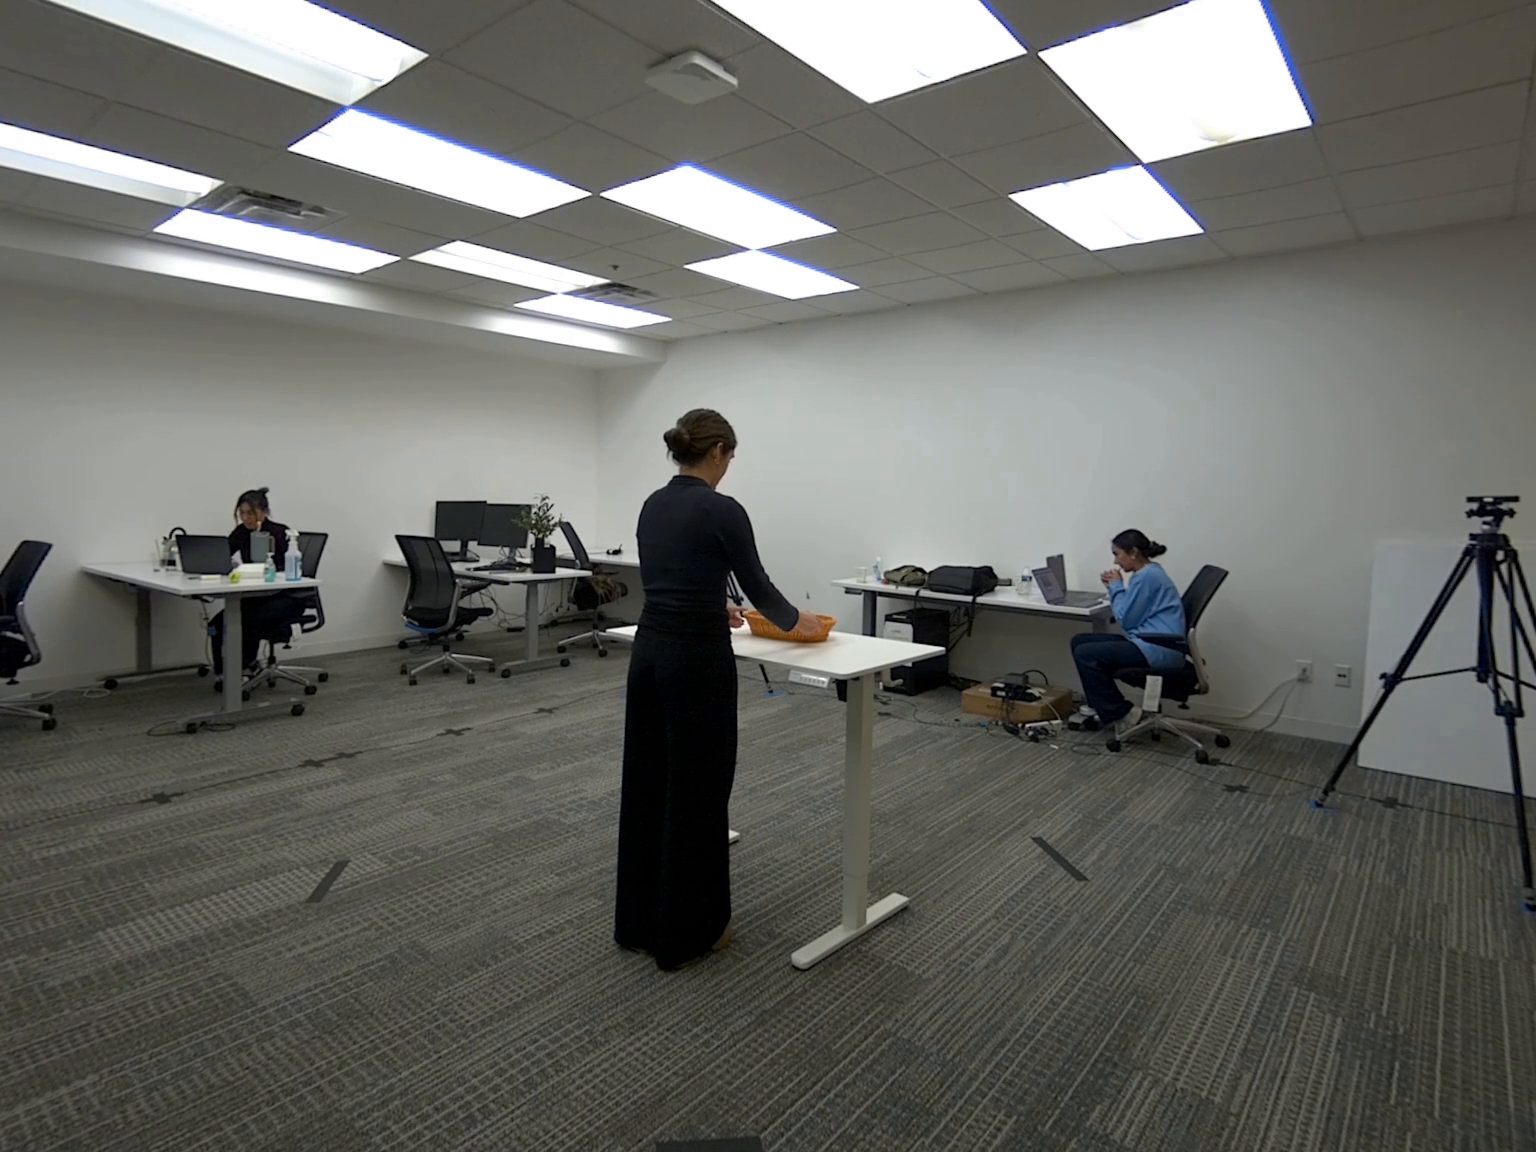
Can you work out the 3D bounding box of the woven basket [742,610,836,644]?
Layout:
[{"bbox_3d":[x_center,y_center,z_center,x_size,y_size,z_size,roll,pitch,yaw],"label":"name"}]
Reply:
[{"bbox_3d":[0.057,0.177,2.923,0.362,0.073,0.244,6,5,41],"label":"woven basket"}]
